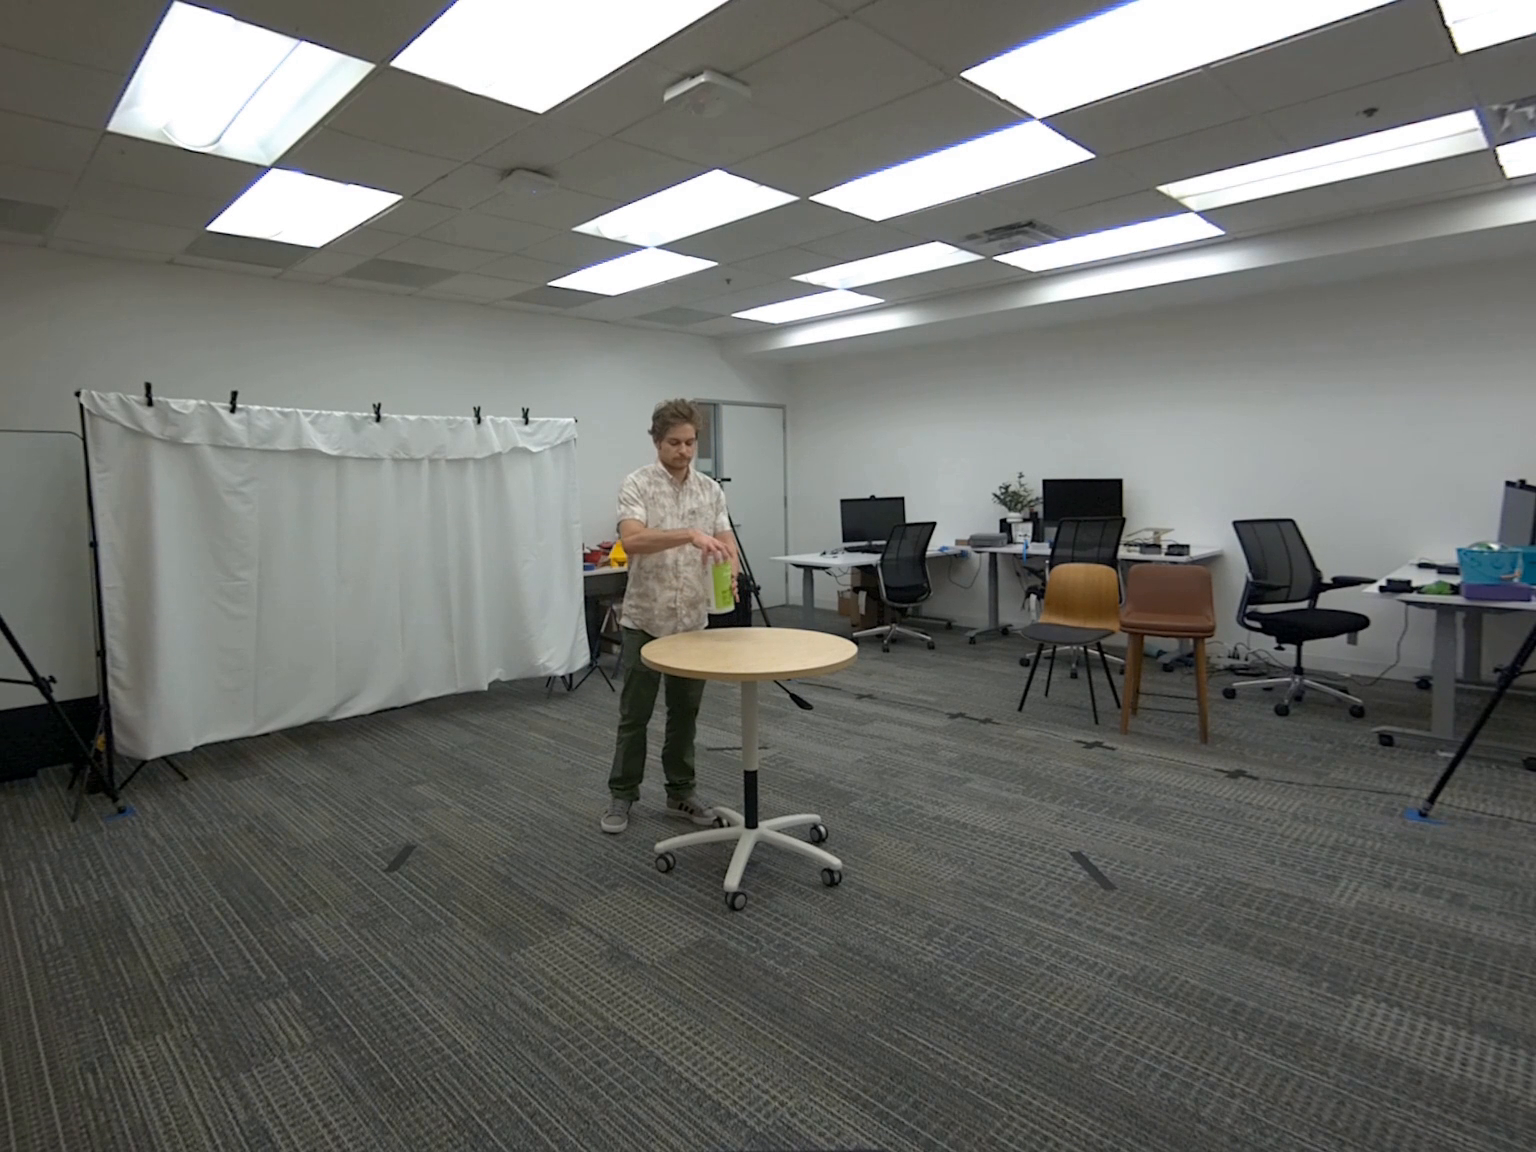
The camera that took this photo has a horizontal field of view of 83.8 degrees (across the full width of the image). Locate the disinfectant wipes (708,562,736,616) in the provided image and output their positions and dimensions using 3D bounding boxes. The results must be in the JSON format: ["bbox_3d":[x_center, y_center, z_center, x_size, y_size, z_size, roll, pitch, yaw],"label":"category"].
[{"bbox_3d":[-0.191,0.031,3.145,0.118,0.216,0.119,-3,8,-1],"label":"disinfectant wipes"}]
